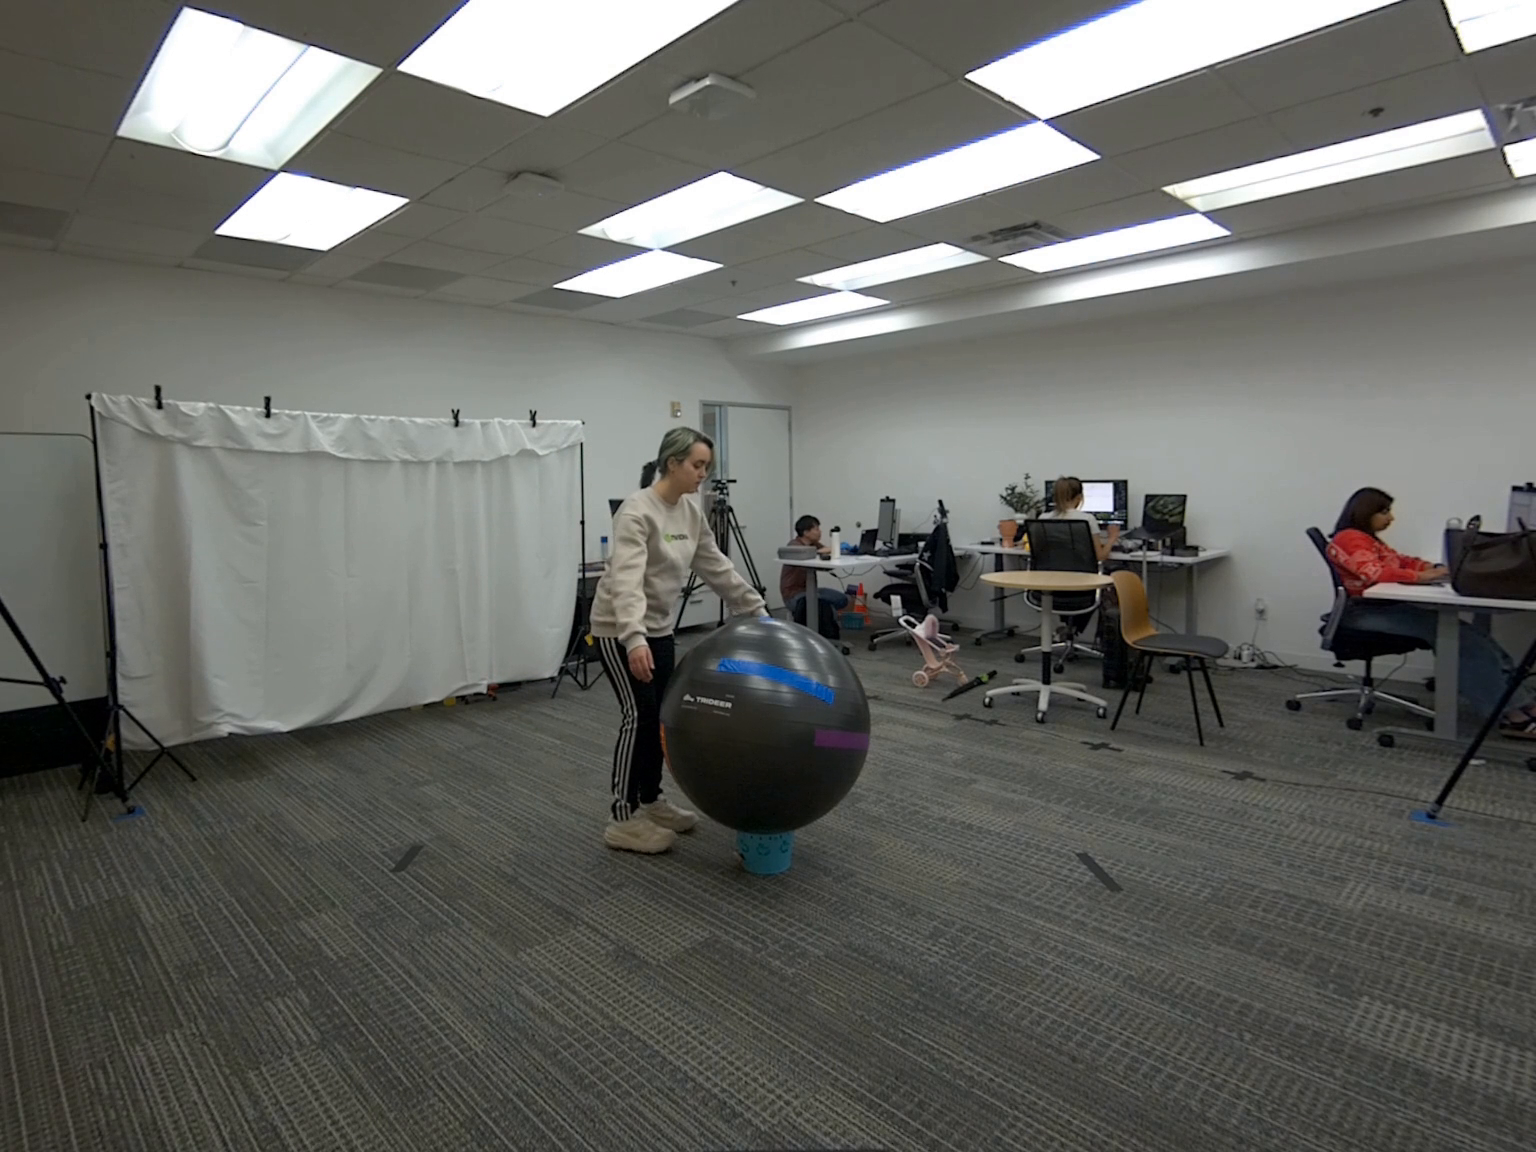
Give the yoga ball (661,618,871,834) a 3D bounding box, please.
[{"bbox_3d":[-0.009,0.537,3.086,0.757,0.755,0.762,-1,5,-2],"label":"yoga ball"}]
